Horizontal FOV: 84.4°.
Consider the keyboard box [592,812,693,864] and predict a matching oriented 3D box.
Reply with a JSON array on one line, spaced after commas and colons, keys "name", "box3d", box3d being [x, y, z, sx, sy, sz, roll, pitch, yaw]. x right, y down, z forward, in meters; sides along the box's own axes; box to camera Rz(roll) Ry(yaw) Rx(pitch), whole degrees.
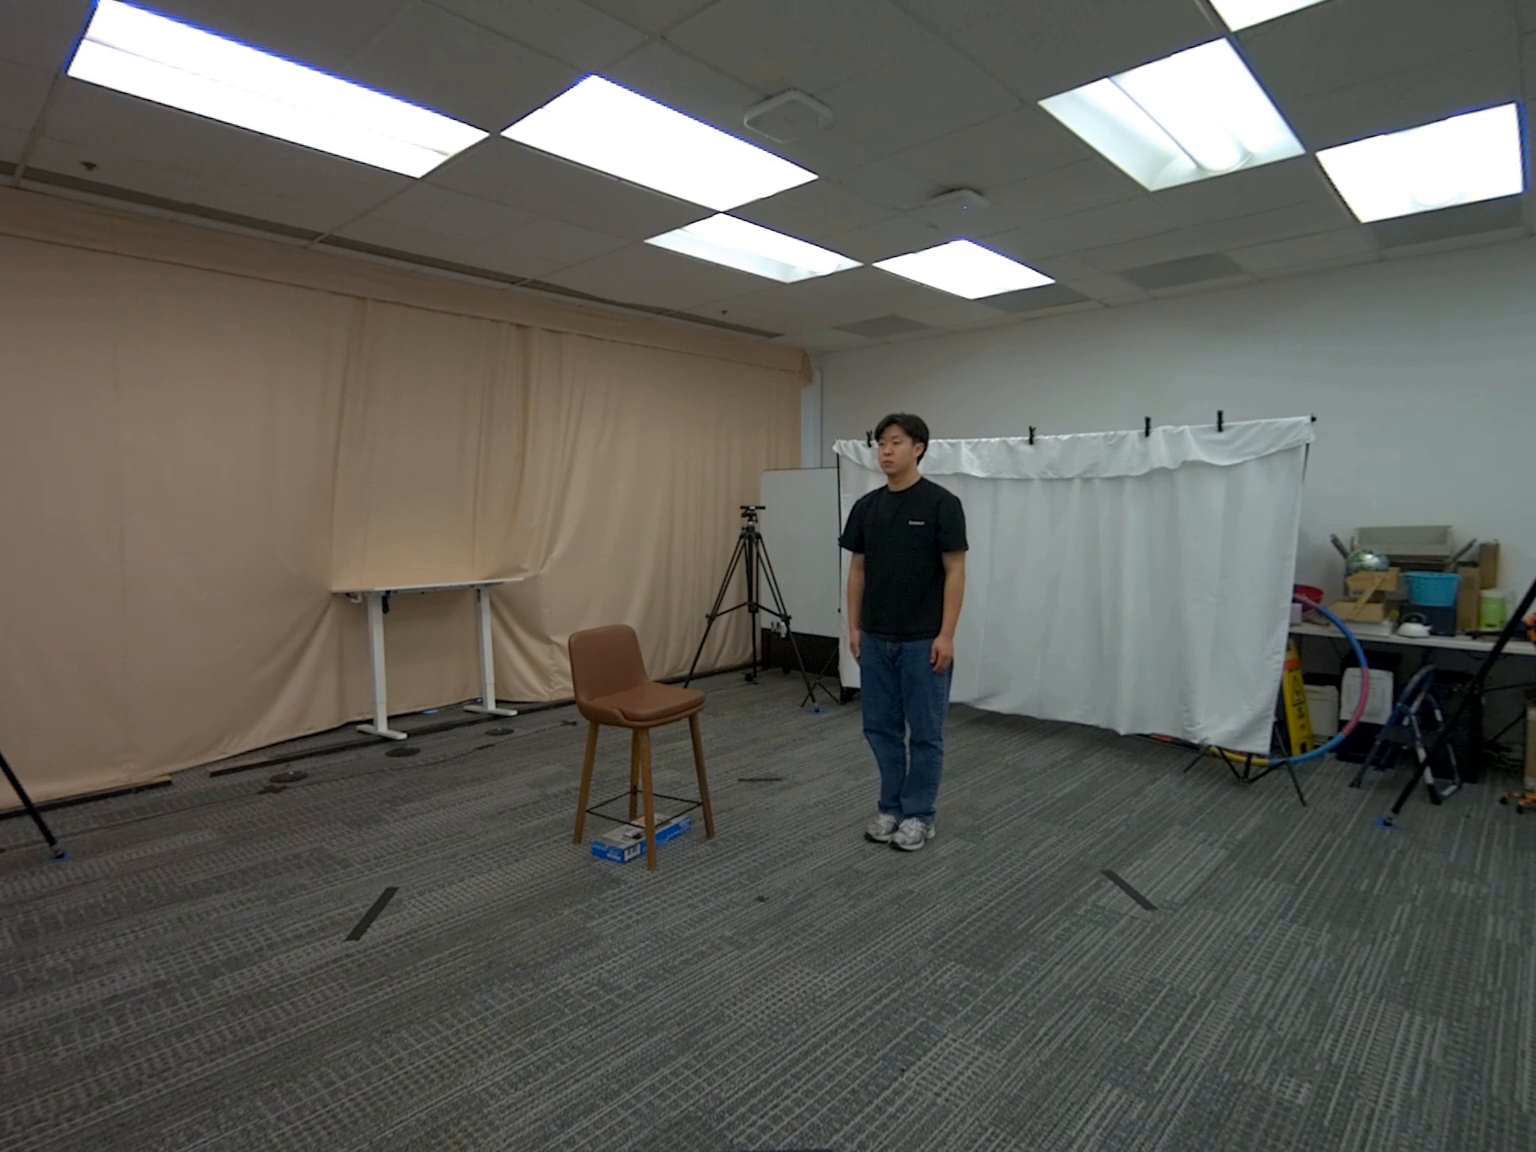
[{"name": "keyboard box", "box3d": [-0.521, 1.080, 3.509, 0.181, 0.059, 0.424, 2, 5, 34]}]
